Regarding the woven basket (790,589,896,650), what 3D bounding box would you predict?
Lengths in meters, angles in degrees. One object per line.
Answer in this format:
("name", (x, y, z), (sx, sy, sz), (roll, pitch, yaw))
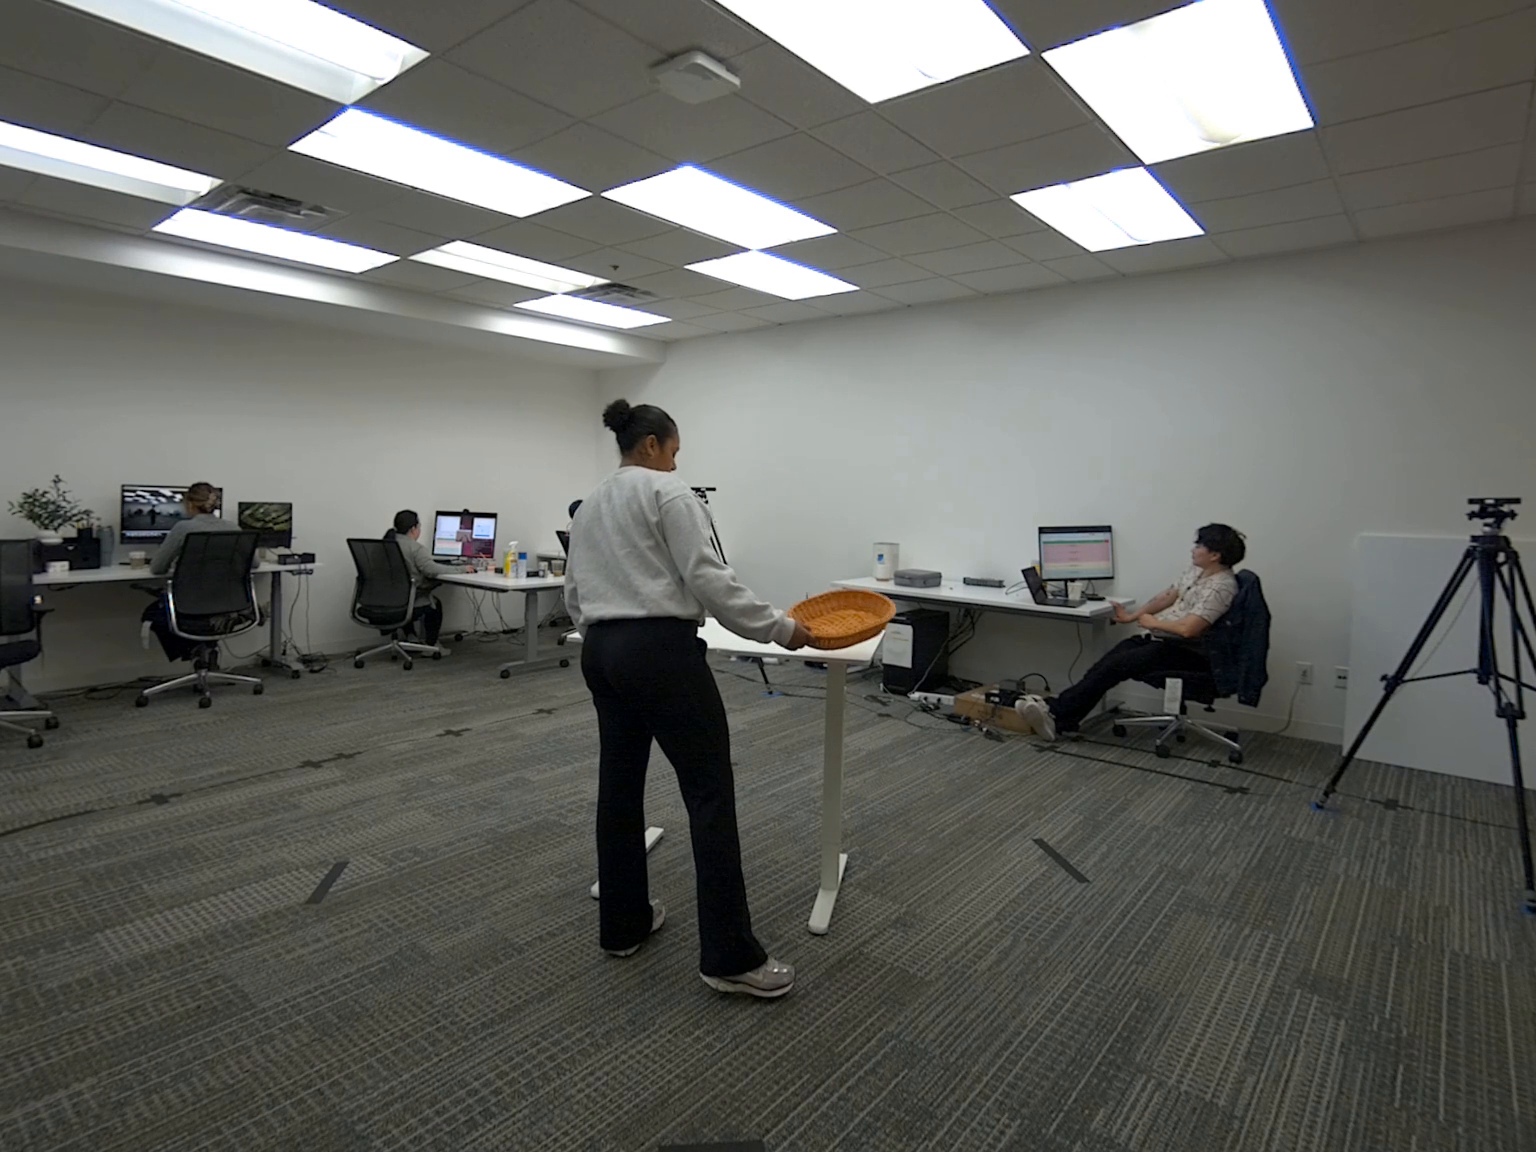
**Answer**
("woven basket", (0.202, 0.152, 2.514), (0.343, 0.072, 0.263), (-17, 28, -29))
